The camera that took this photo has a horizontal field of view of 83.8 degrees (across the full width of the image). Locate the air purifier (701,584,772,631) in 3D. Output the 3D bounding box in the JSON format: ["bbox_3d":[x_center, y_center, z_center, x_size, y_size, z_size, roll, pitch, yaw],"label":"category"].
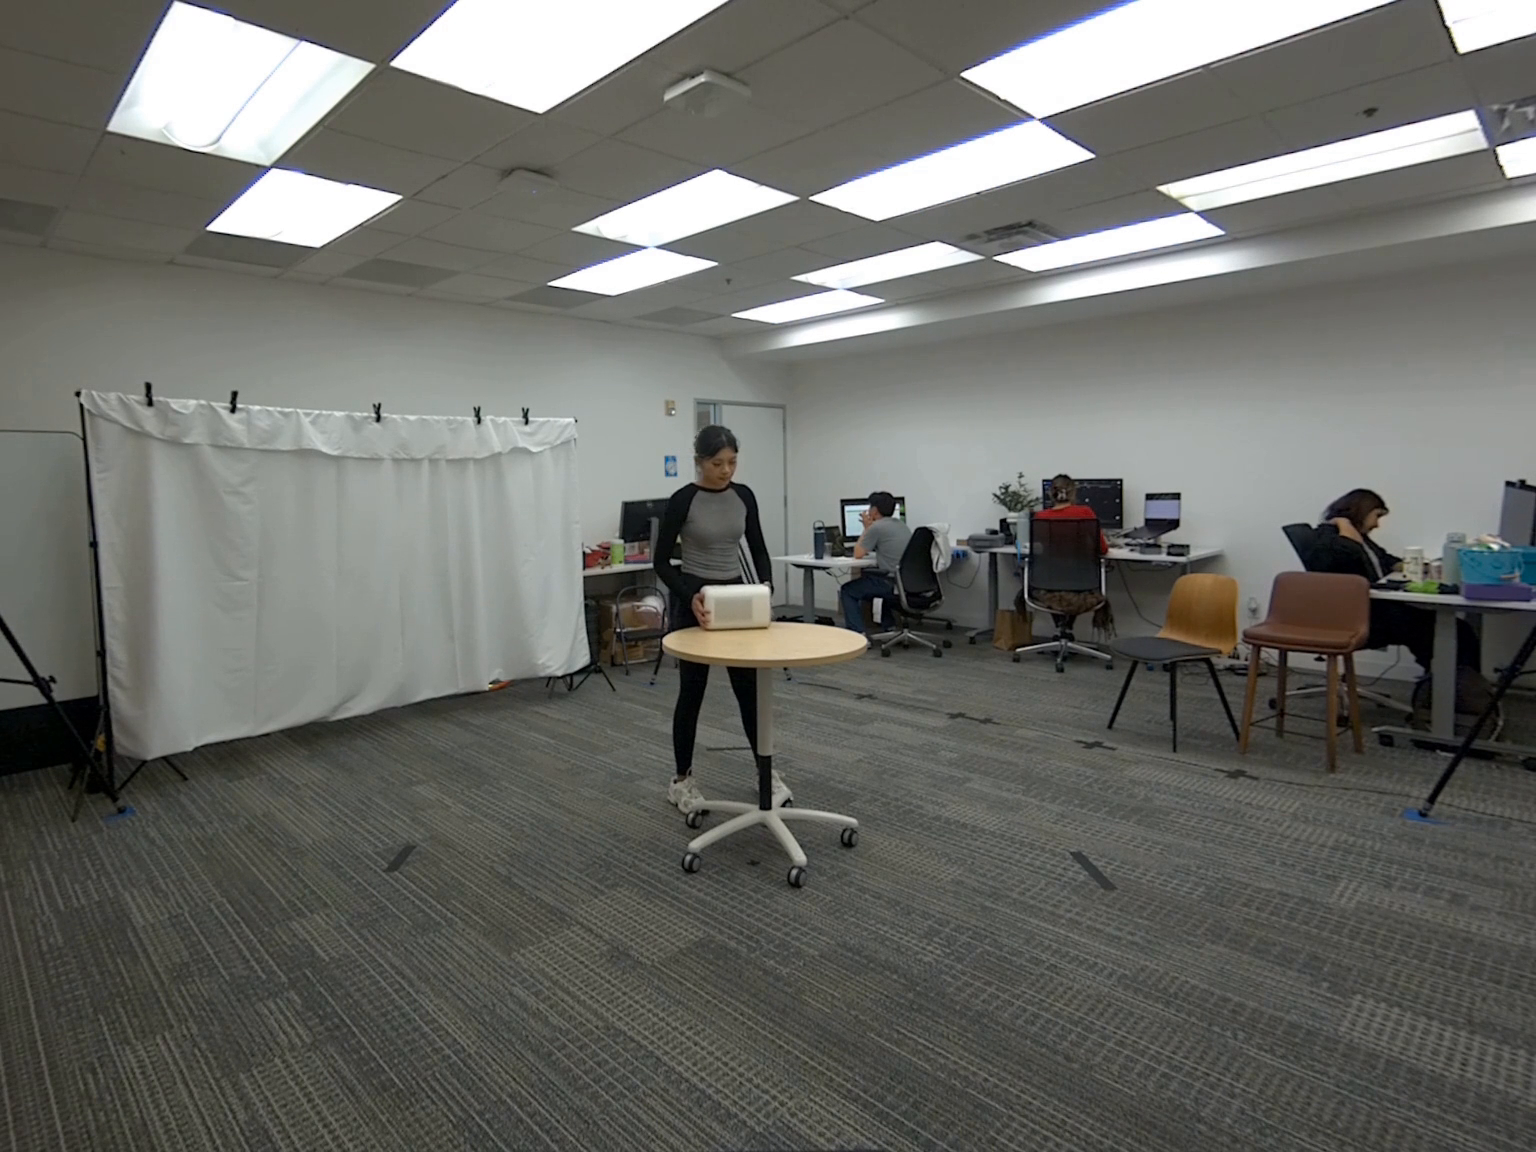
[{"bbox_3d":[-0.132,0.127,3.461,0.263,0.171,0.173,-2,5,-10],"label":"air purifier"}]
